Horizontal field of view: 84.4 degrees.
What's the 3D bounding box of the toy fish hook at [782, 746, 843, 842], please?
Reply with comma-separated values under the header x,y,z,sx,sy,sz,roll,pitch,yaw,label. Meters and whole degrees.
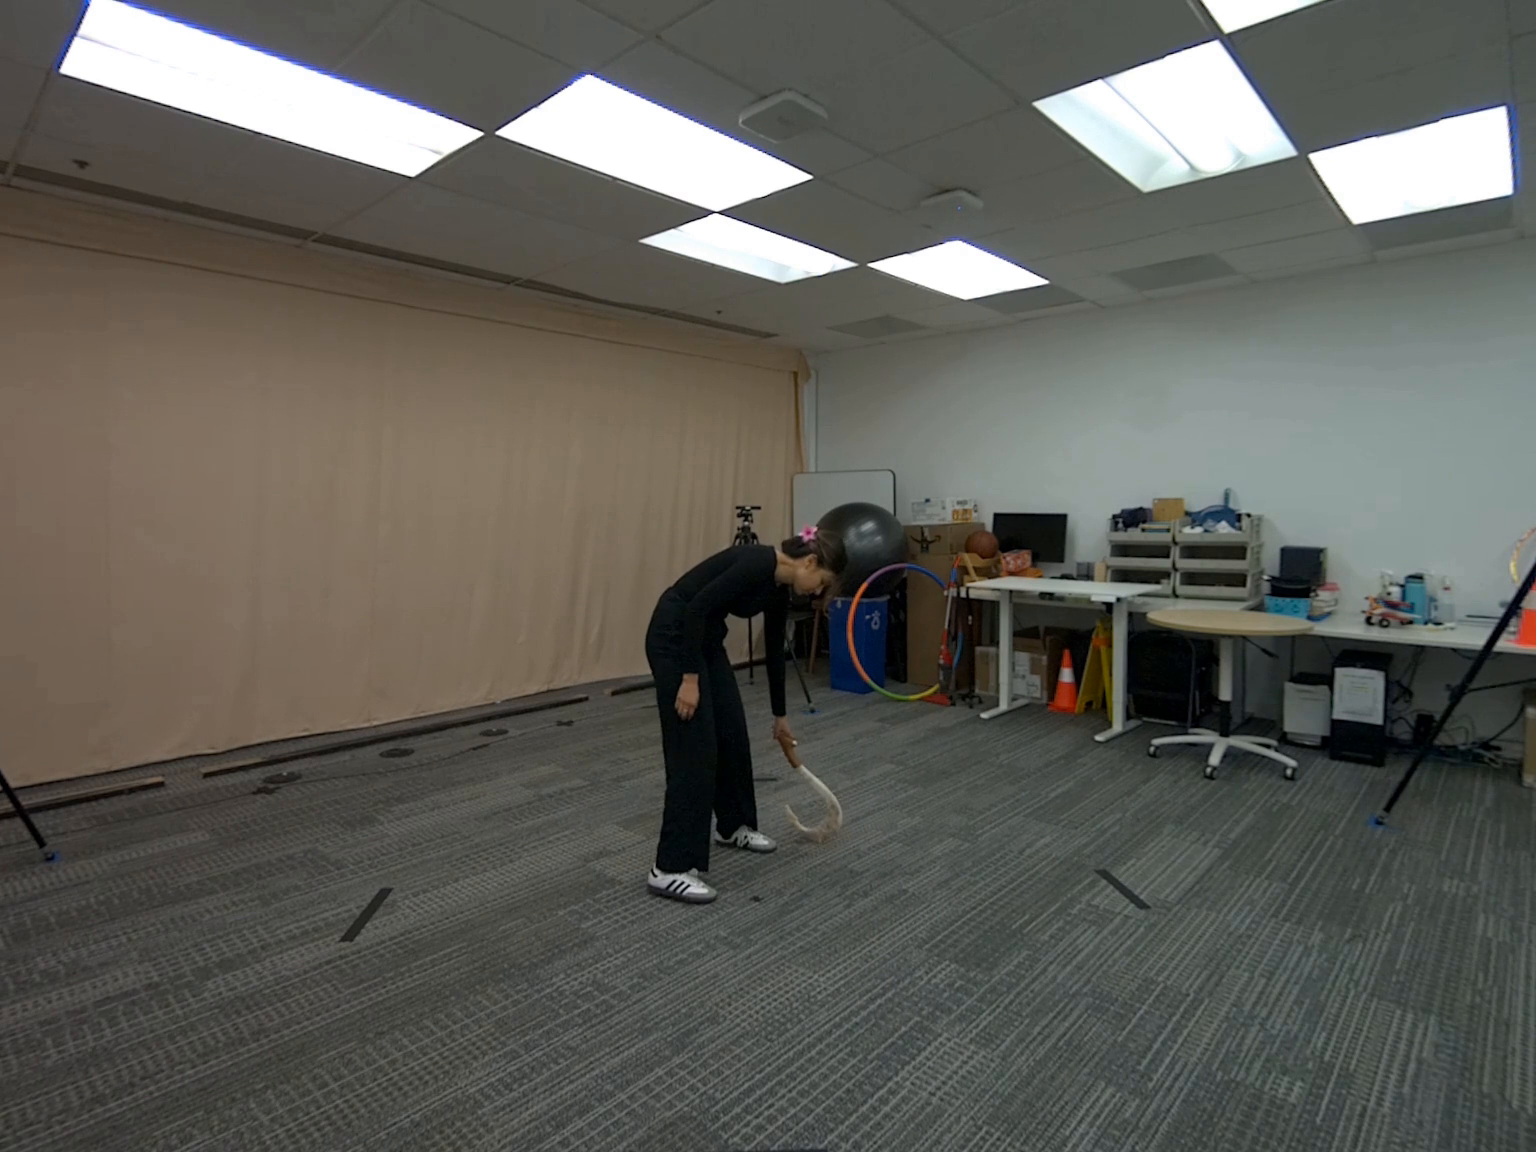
x,y,z,sx,sy,sz,roll,pitch,yaw,label
0.118,0.866,3.507,0.226,0.512,0.047,-34,-10,8,toy fish hook
